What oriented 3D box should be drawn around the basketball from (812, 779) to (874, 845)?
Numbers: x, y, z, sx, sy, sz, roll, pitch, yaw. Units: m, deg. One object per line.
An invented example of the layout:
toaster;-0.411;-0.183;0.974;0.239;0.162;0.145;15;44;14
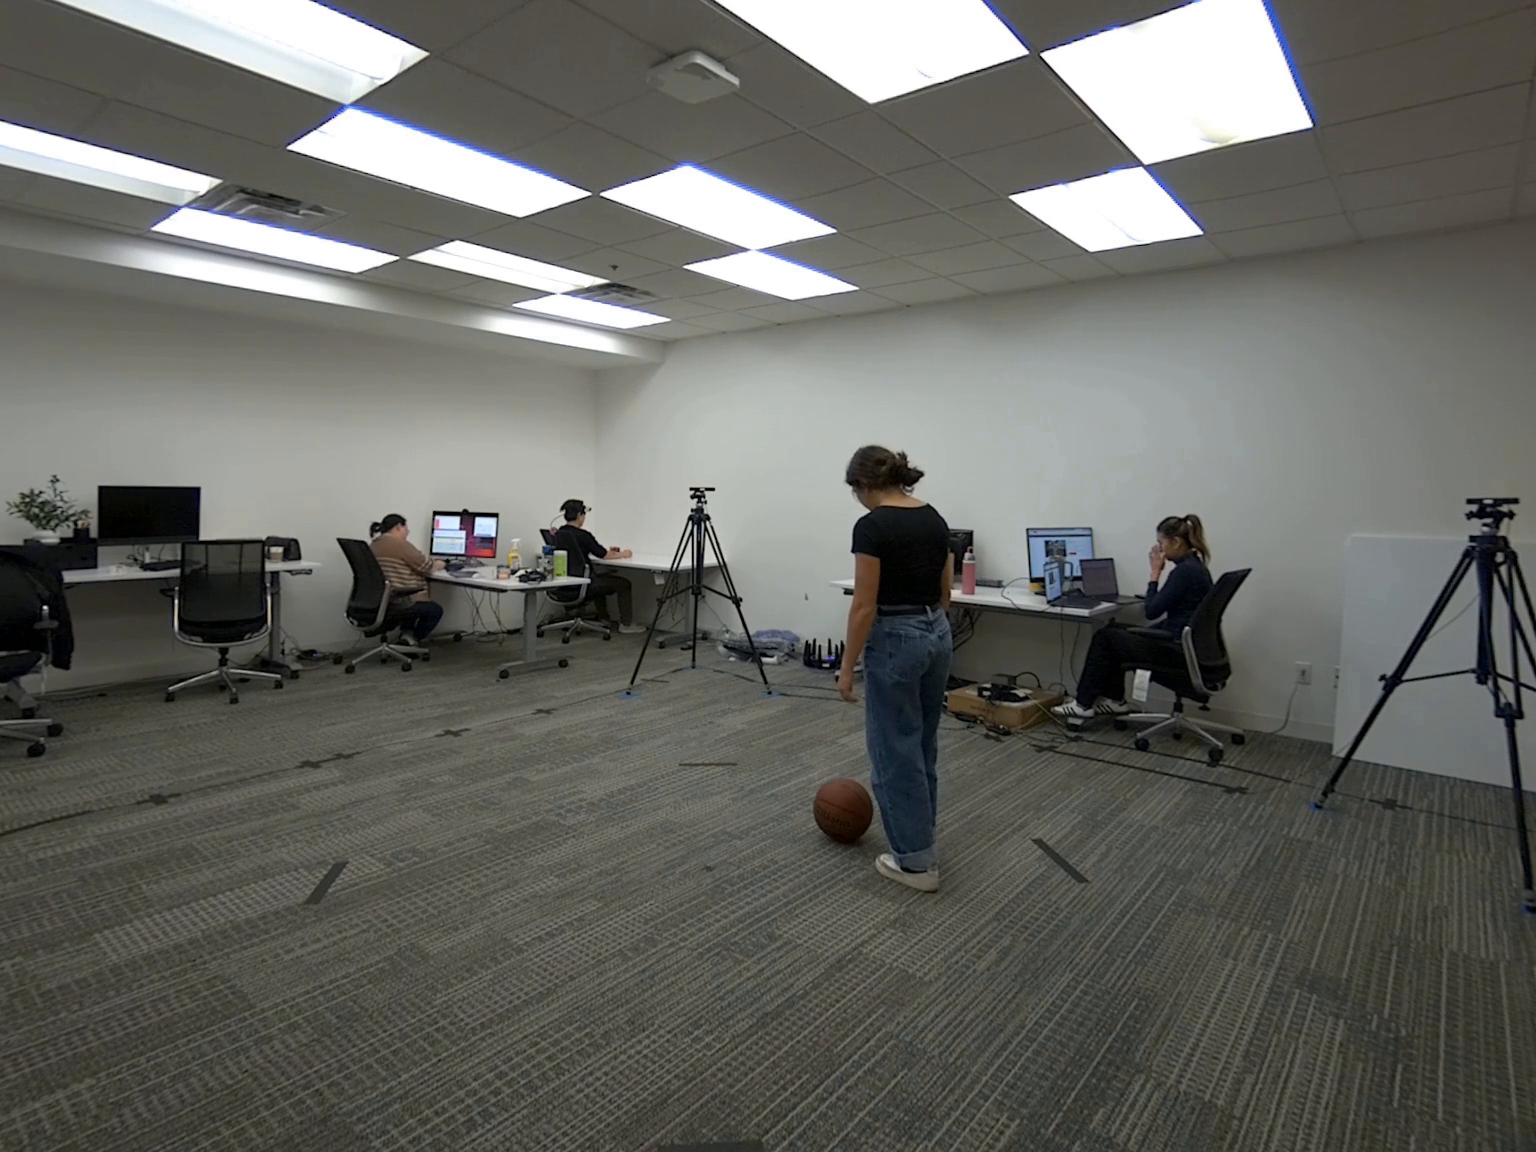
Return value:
basketball;0.292;0.928;3.401;0.235;0.235;0.237;1;4;-2
